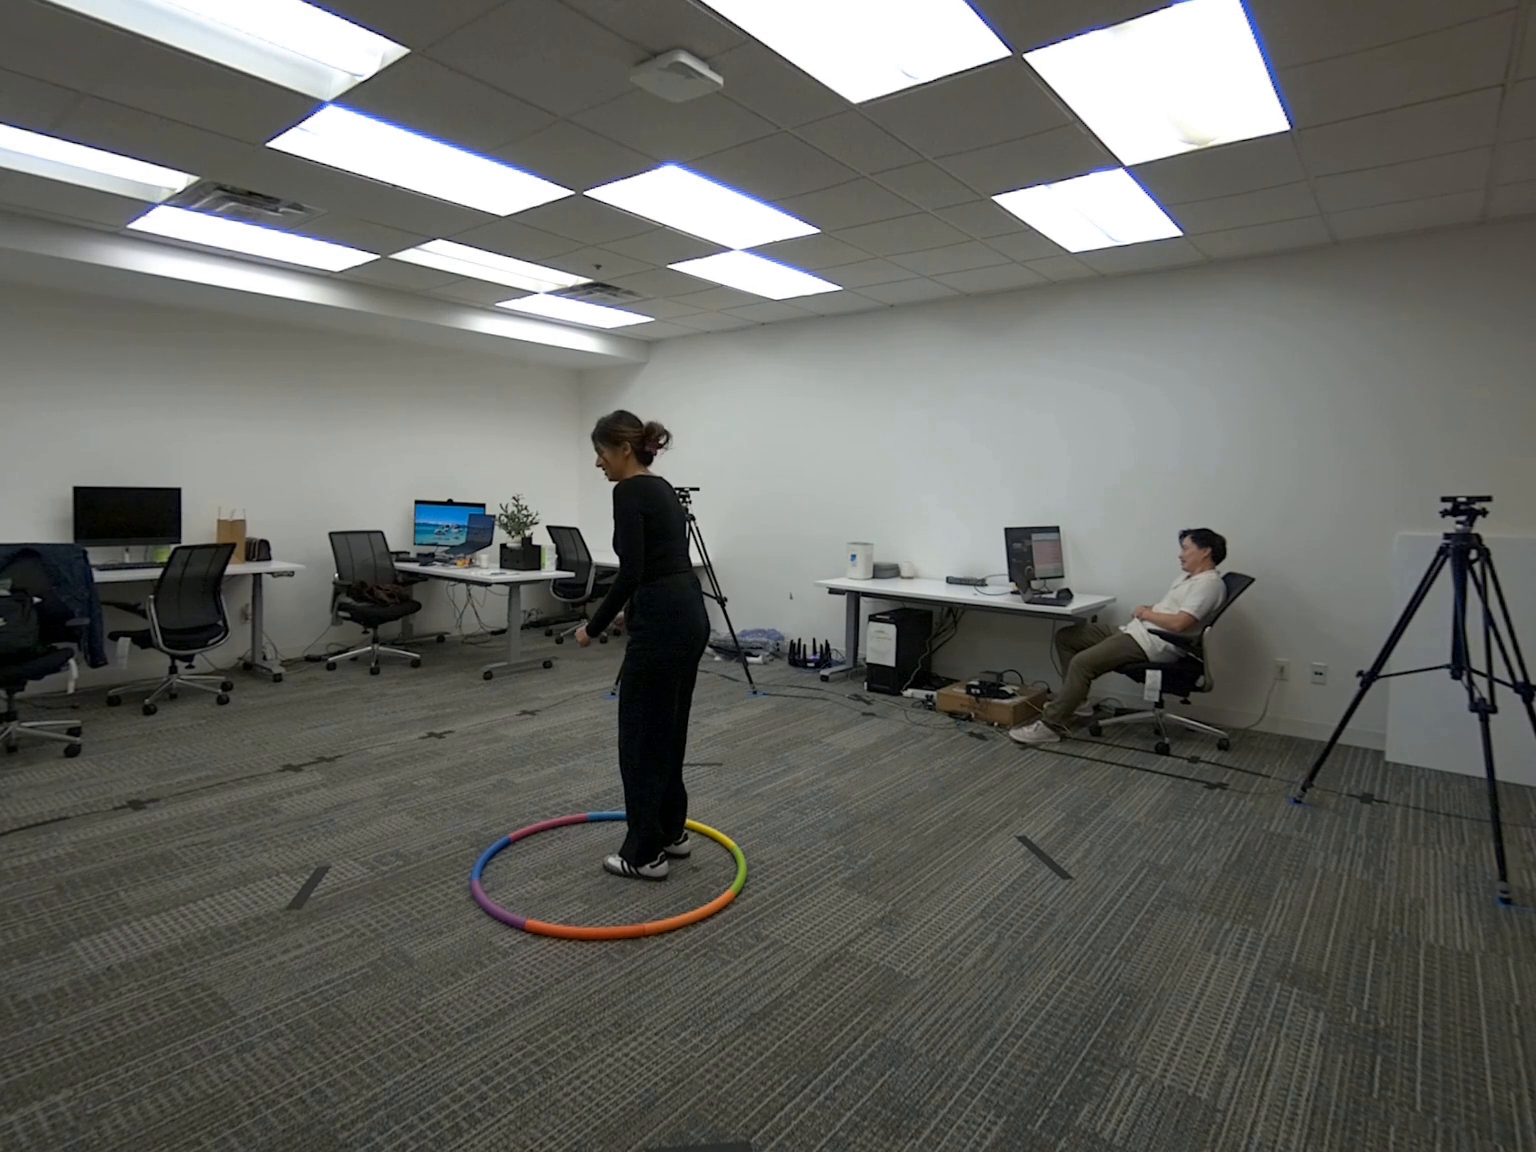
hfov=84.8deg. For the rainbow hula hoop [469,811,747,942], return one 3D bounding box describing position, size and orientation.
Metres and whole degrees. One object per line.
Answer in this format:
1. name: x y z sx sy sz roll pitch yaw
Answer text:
1. rainbow hula hoop: -0.573 1.035 3.083 0.978 0.035 0.984 1 6 -2
